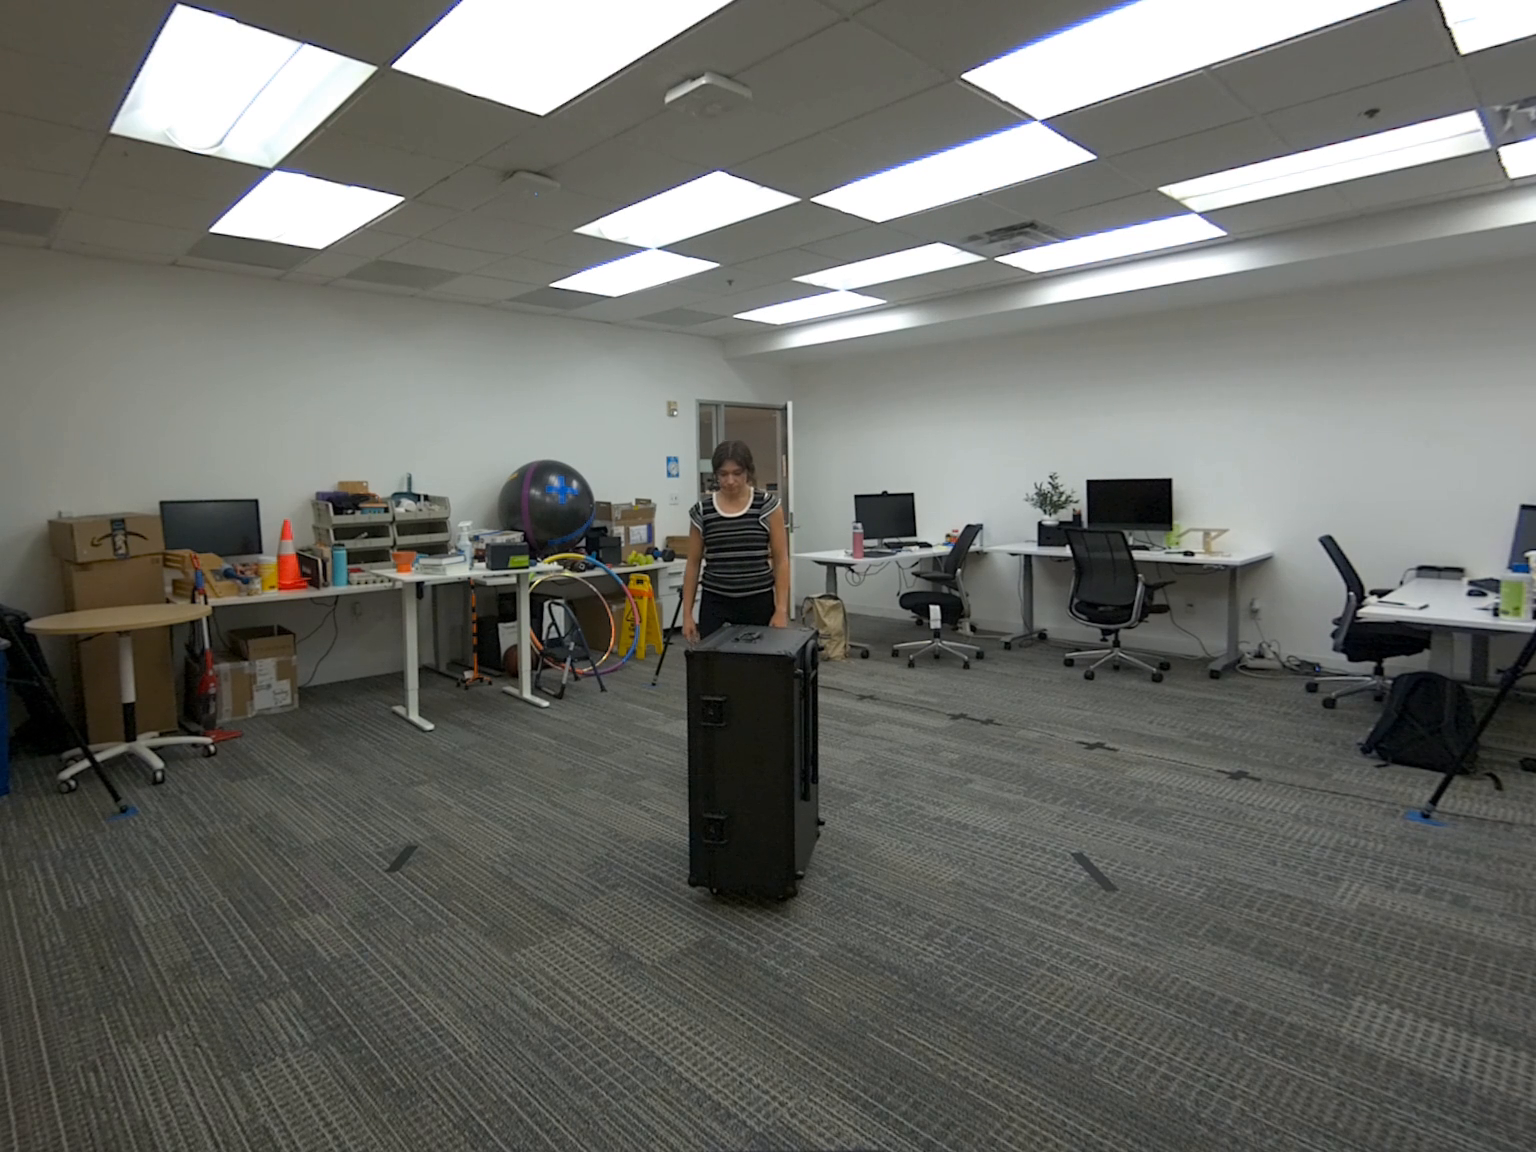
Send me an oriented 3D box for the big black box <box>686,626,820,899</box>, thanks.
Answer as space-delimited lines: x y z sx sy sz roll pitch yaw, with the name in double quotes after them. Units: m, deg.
-0.032 0.640 2.957 0.402 0.858 0.515 2 5 15 "big black box"
